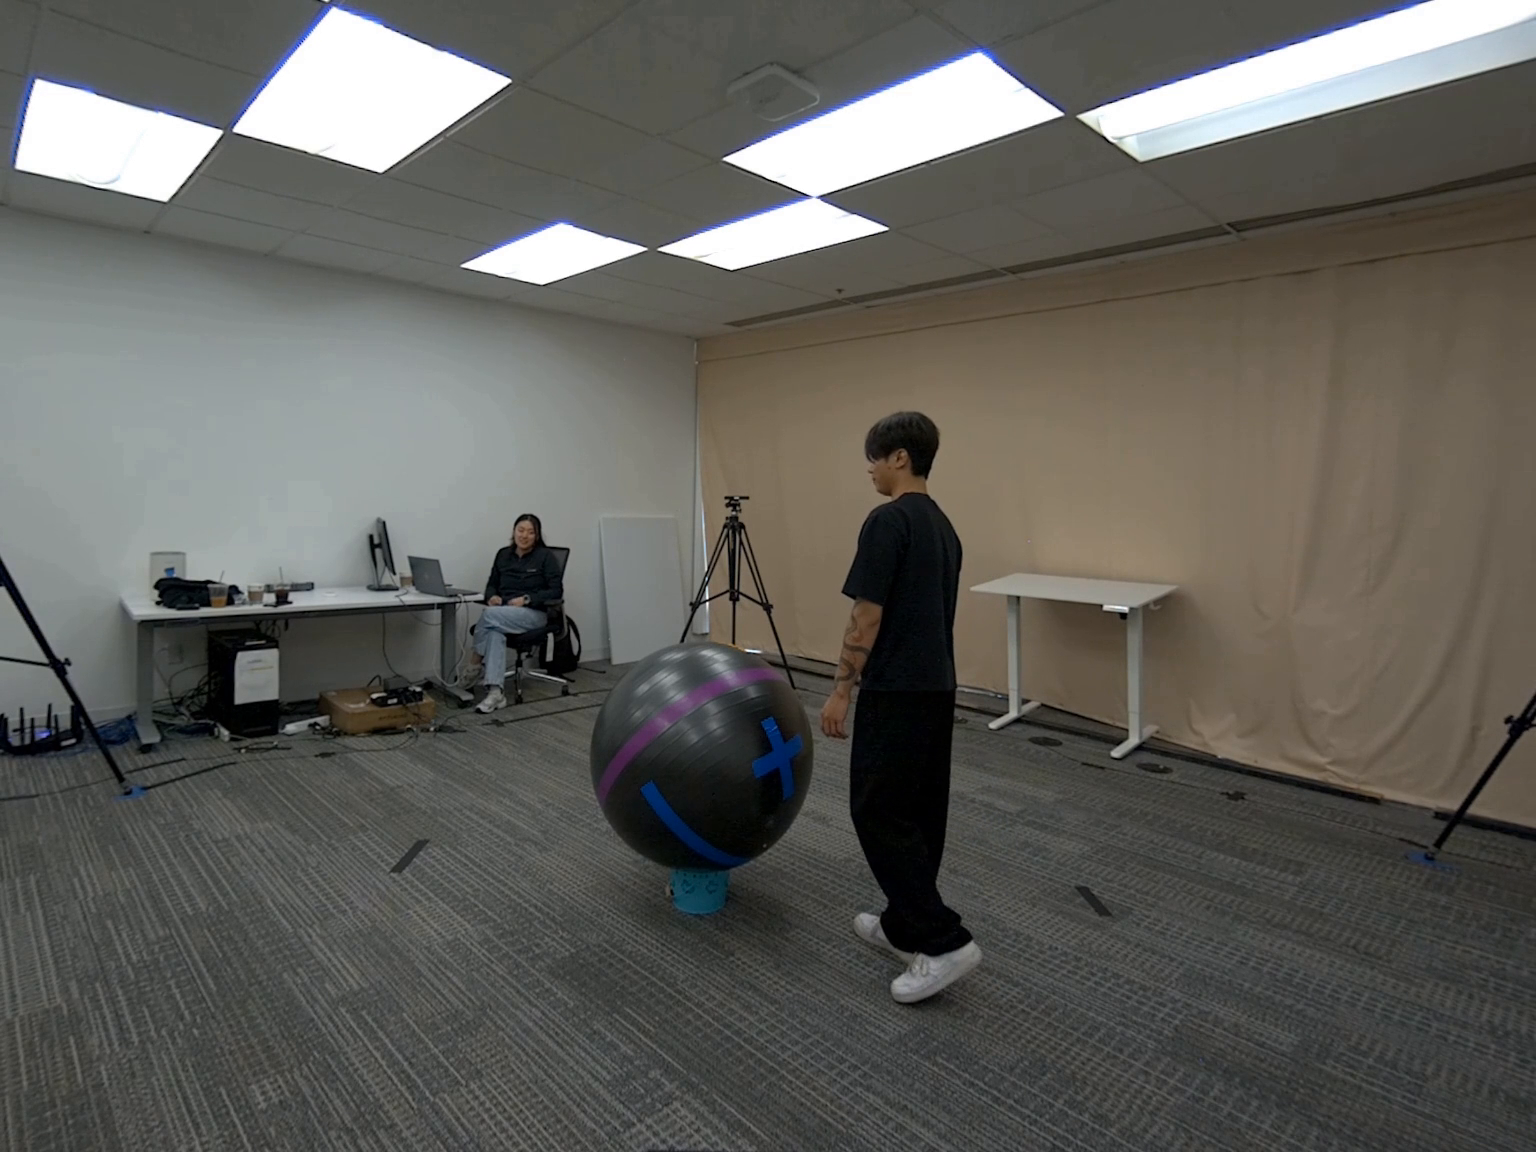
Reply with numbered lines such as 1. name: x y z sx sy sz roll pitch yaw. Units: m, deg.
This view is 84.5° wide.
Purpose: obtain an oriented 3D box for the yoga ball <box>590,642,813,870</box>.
1. yoga ball: -0.231 0.612 2.876 0.757 0.756 0.761 1 4 -1
